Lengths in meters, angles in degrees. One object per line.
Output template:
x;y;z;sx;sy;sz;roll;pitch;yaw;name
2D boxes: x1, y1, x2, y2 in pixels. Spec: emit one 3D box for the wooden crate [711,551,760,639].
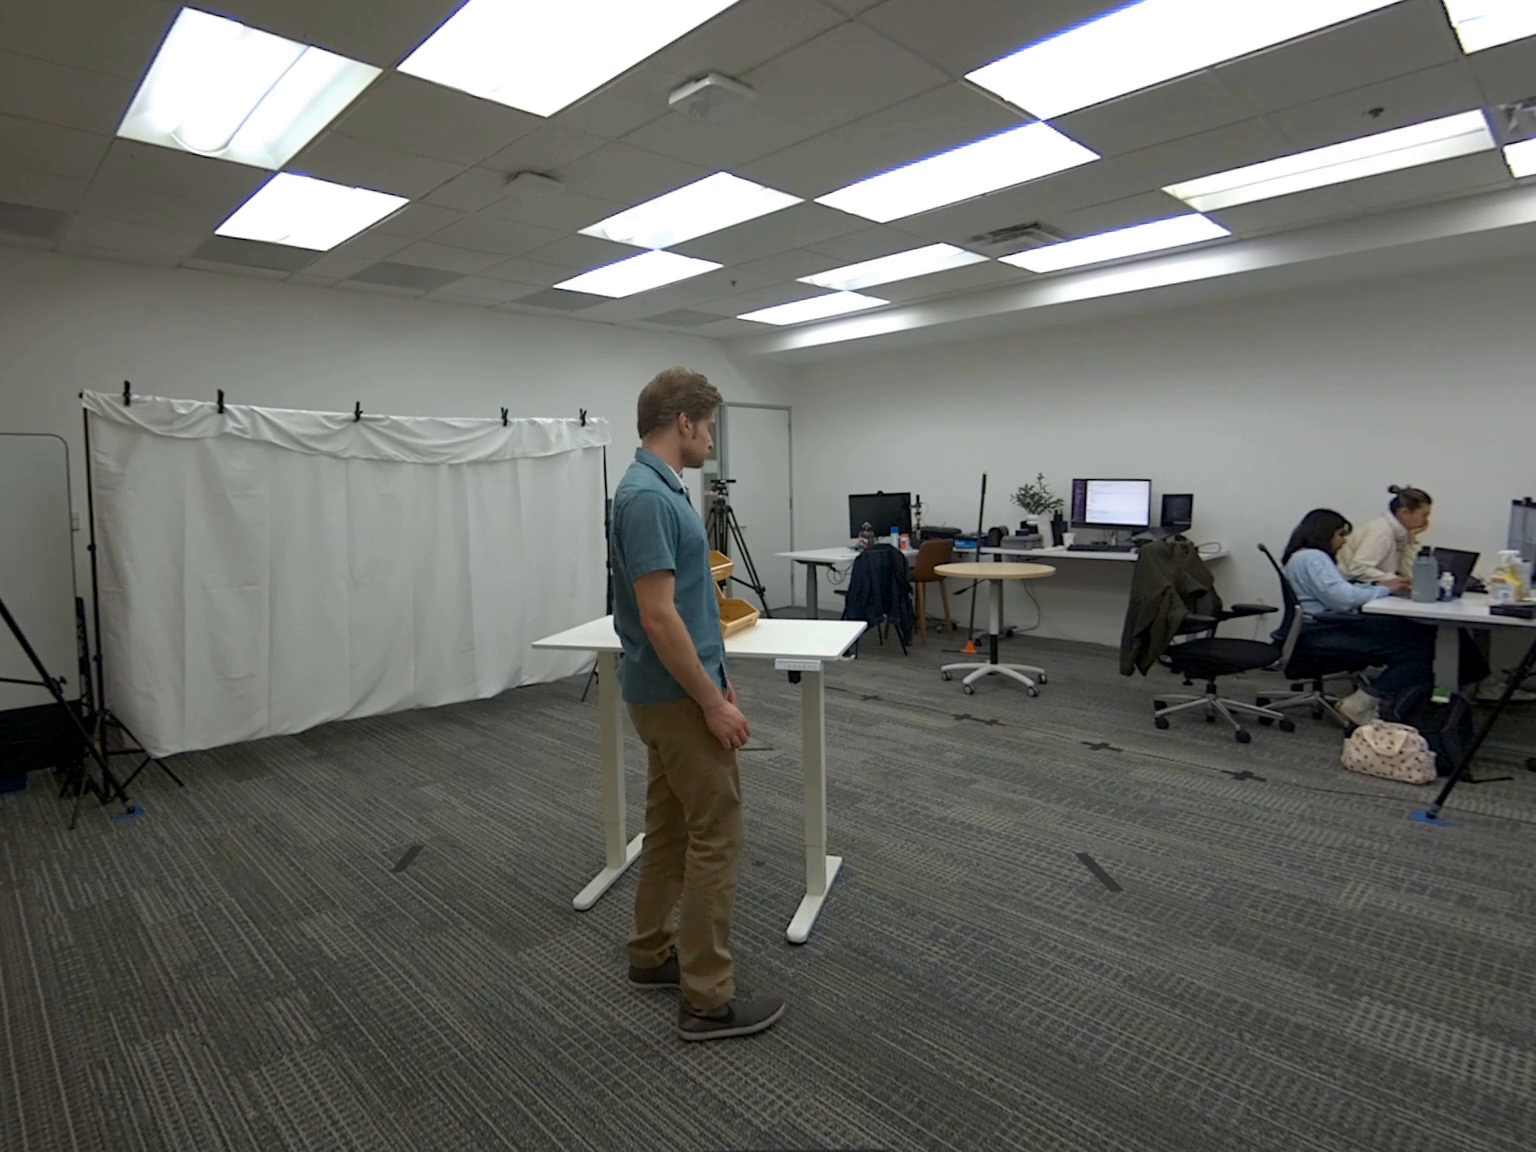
-0.215;0.056;2.921;0.308;0.272;0.319;0;5;22;wooden crate
